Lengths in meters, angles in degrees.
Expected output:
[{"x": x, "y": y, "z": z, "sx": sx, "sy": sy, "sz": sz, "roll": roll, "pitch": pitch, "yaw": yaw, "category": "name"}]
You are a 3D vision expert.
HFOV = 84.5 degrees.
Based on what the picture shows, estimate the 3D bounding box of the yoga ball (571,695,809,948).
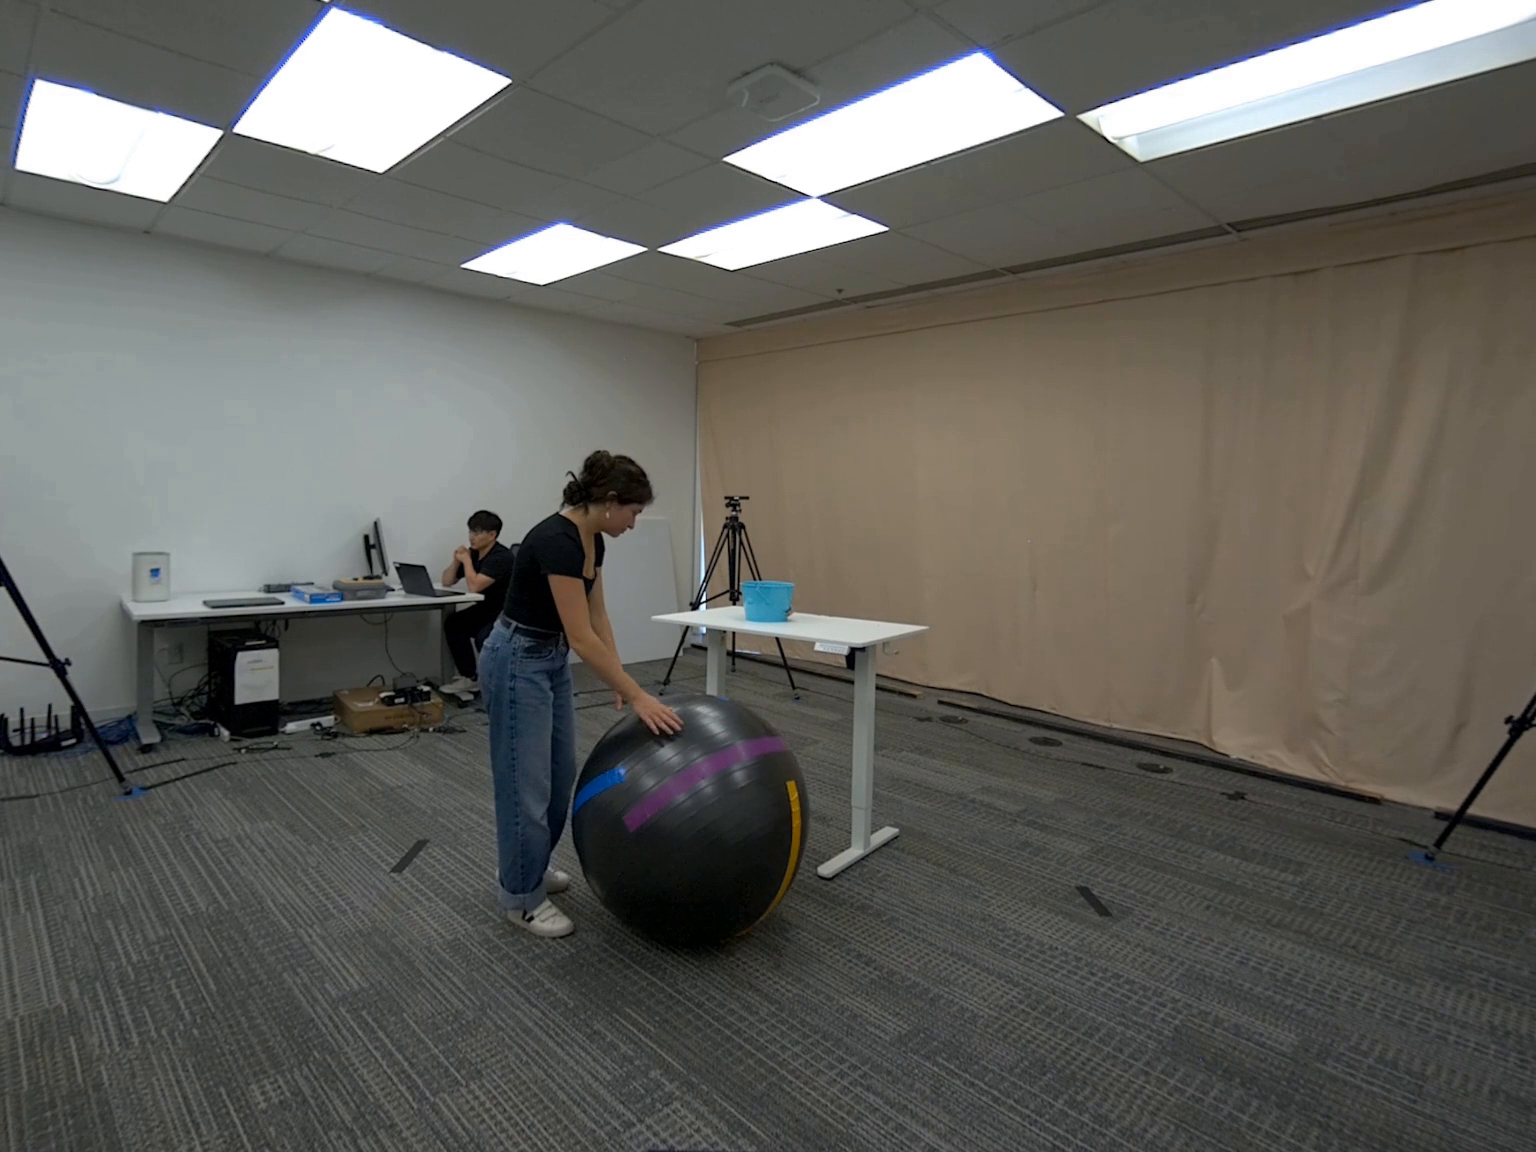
[{"x": -0.244, "y": 0.780, "z": 2.696, "sx": 0.757, "sy": 0.756, "sz": 0.761, "roll": 1, "pitch": 4, "yaw": -1, "category": "yoga ball"}]
